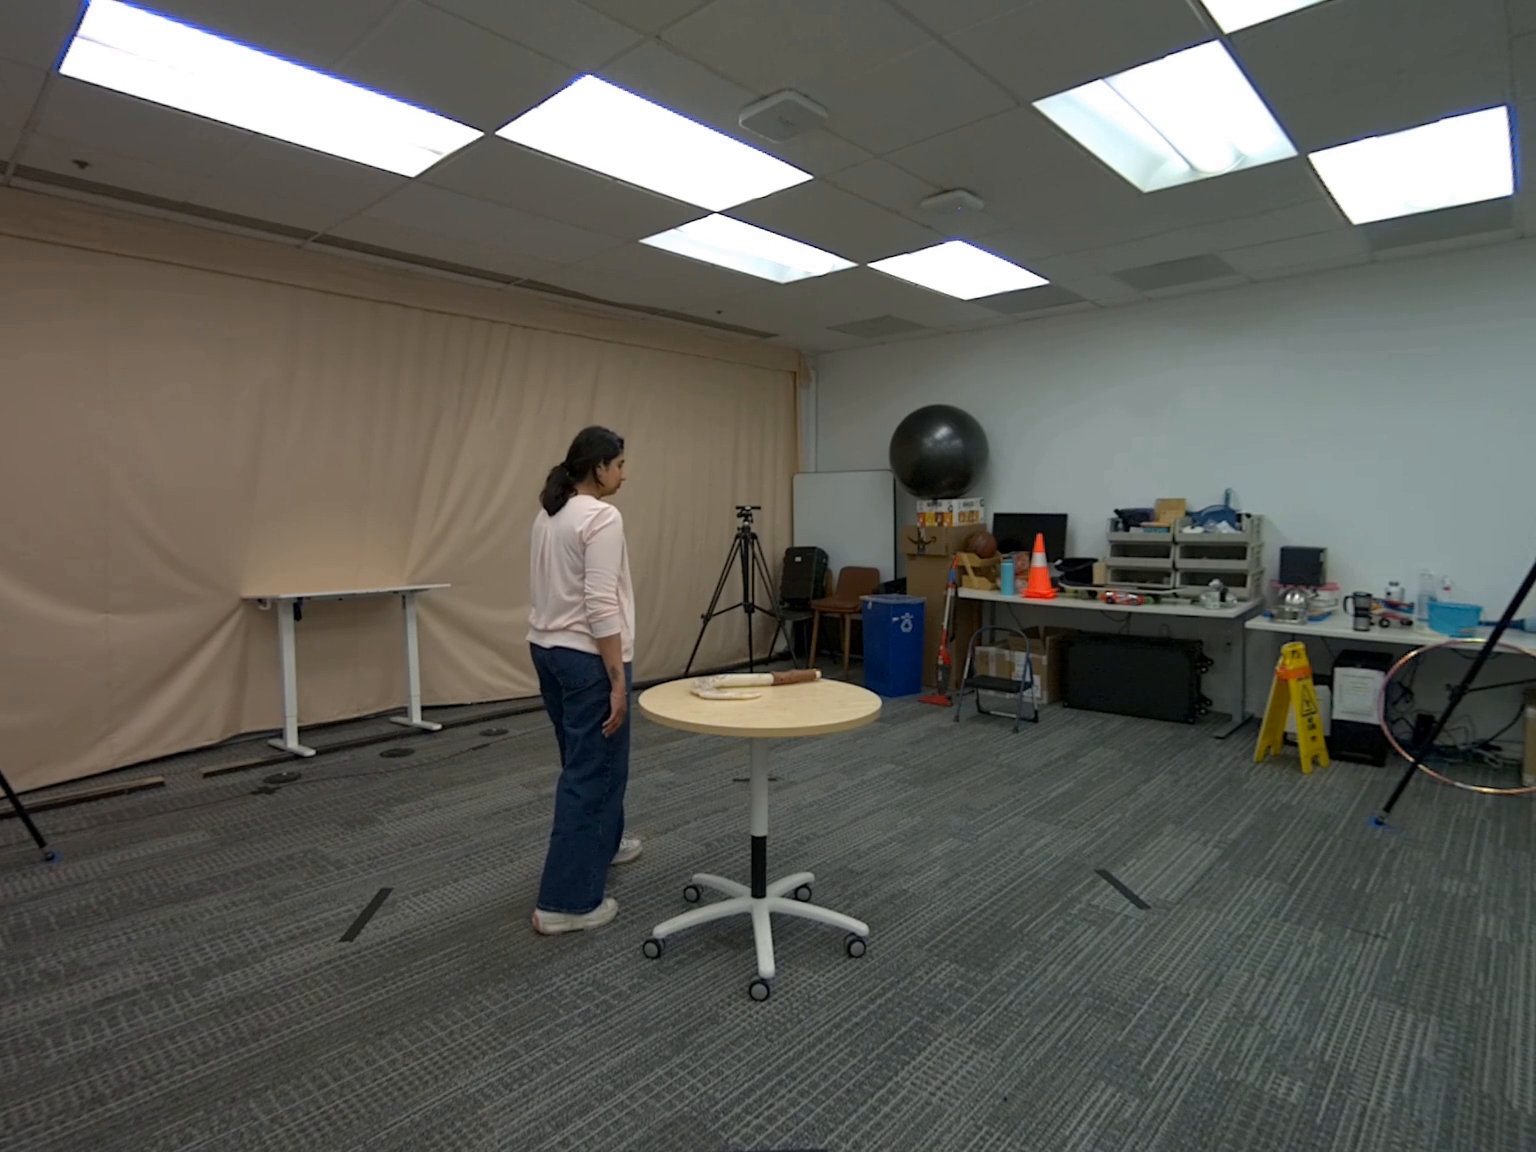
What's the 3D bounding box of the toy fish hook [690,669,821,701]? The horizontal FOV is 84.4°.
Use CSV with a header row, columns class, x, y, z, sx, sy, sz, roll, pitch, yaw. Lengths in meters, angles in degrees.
class,x,y,z,sx,sy,sz,roll,pitch,yaw
toy fish hook,-0.008,0.361,2.790,0.495,0.048,0.231,-3,9,-25
